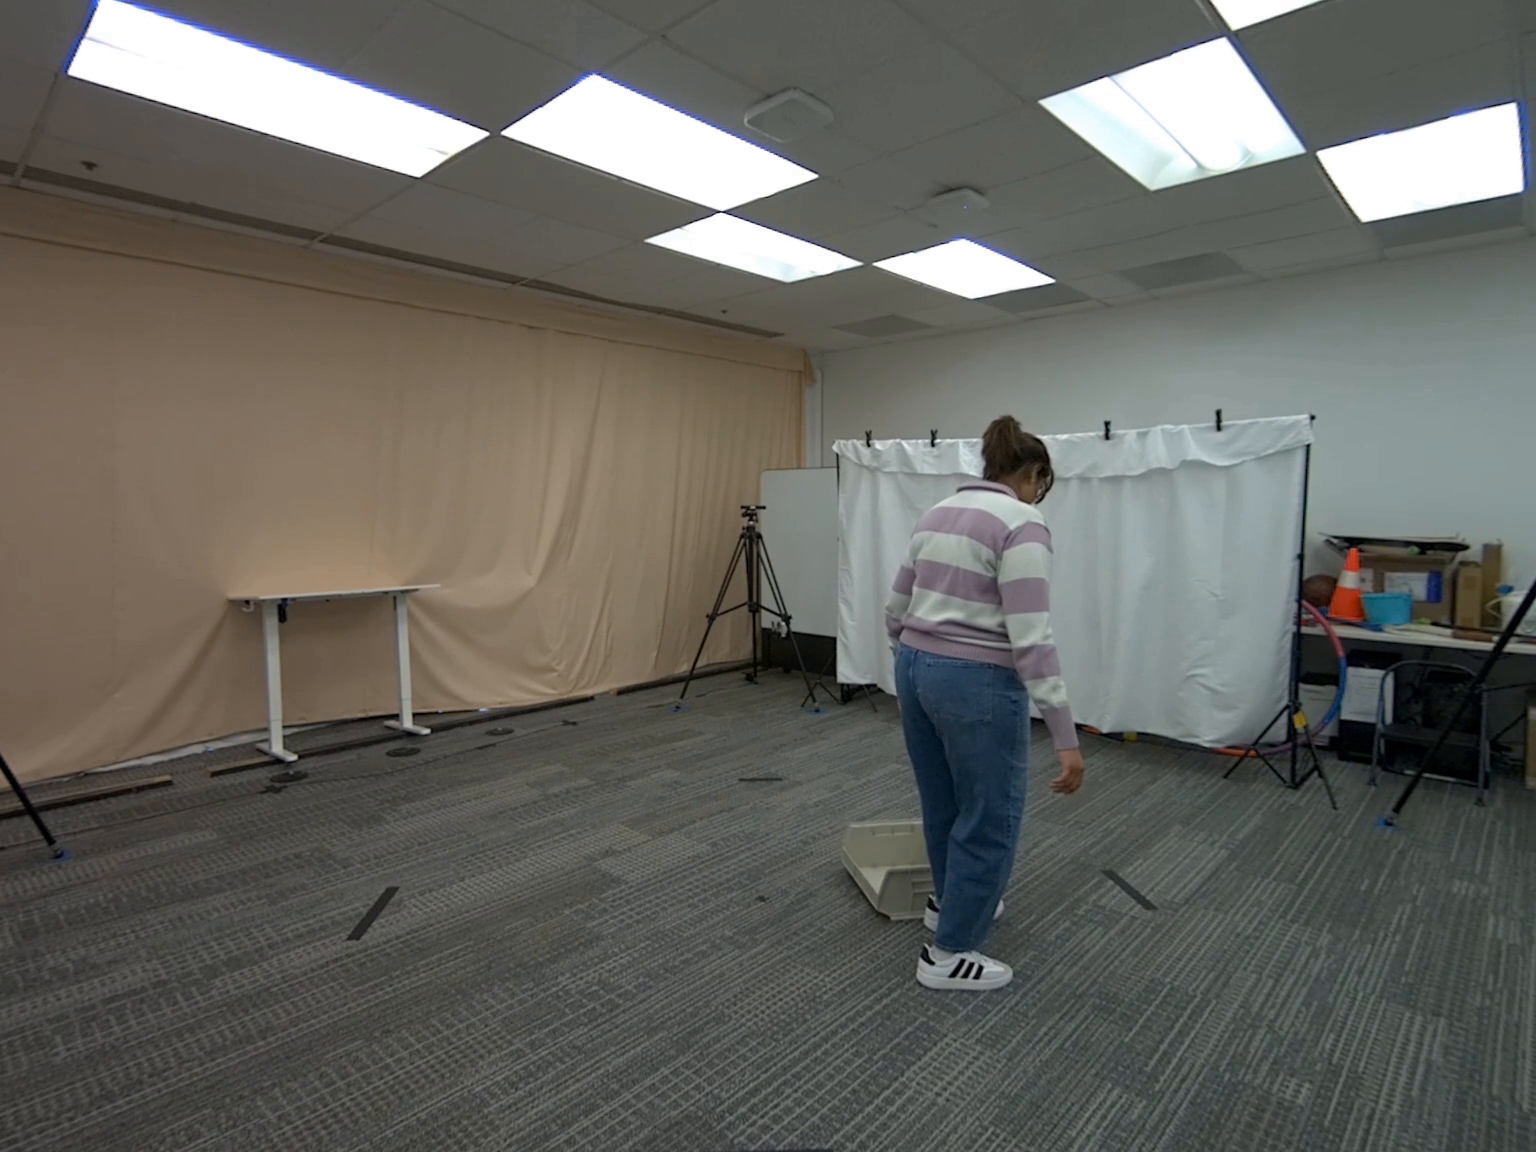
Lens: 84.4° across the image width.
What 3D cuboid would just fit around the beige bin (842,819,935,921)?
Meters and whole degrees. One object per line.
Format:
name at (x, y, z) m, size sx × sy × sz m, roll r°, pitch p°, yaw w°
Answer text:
beige bin at (0.503, 1.048, 3.041) m, size 0.373 × 0.188 × 0.428 m, roll 0°, pitch 3°, yaw -12°
